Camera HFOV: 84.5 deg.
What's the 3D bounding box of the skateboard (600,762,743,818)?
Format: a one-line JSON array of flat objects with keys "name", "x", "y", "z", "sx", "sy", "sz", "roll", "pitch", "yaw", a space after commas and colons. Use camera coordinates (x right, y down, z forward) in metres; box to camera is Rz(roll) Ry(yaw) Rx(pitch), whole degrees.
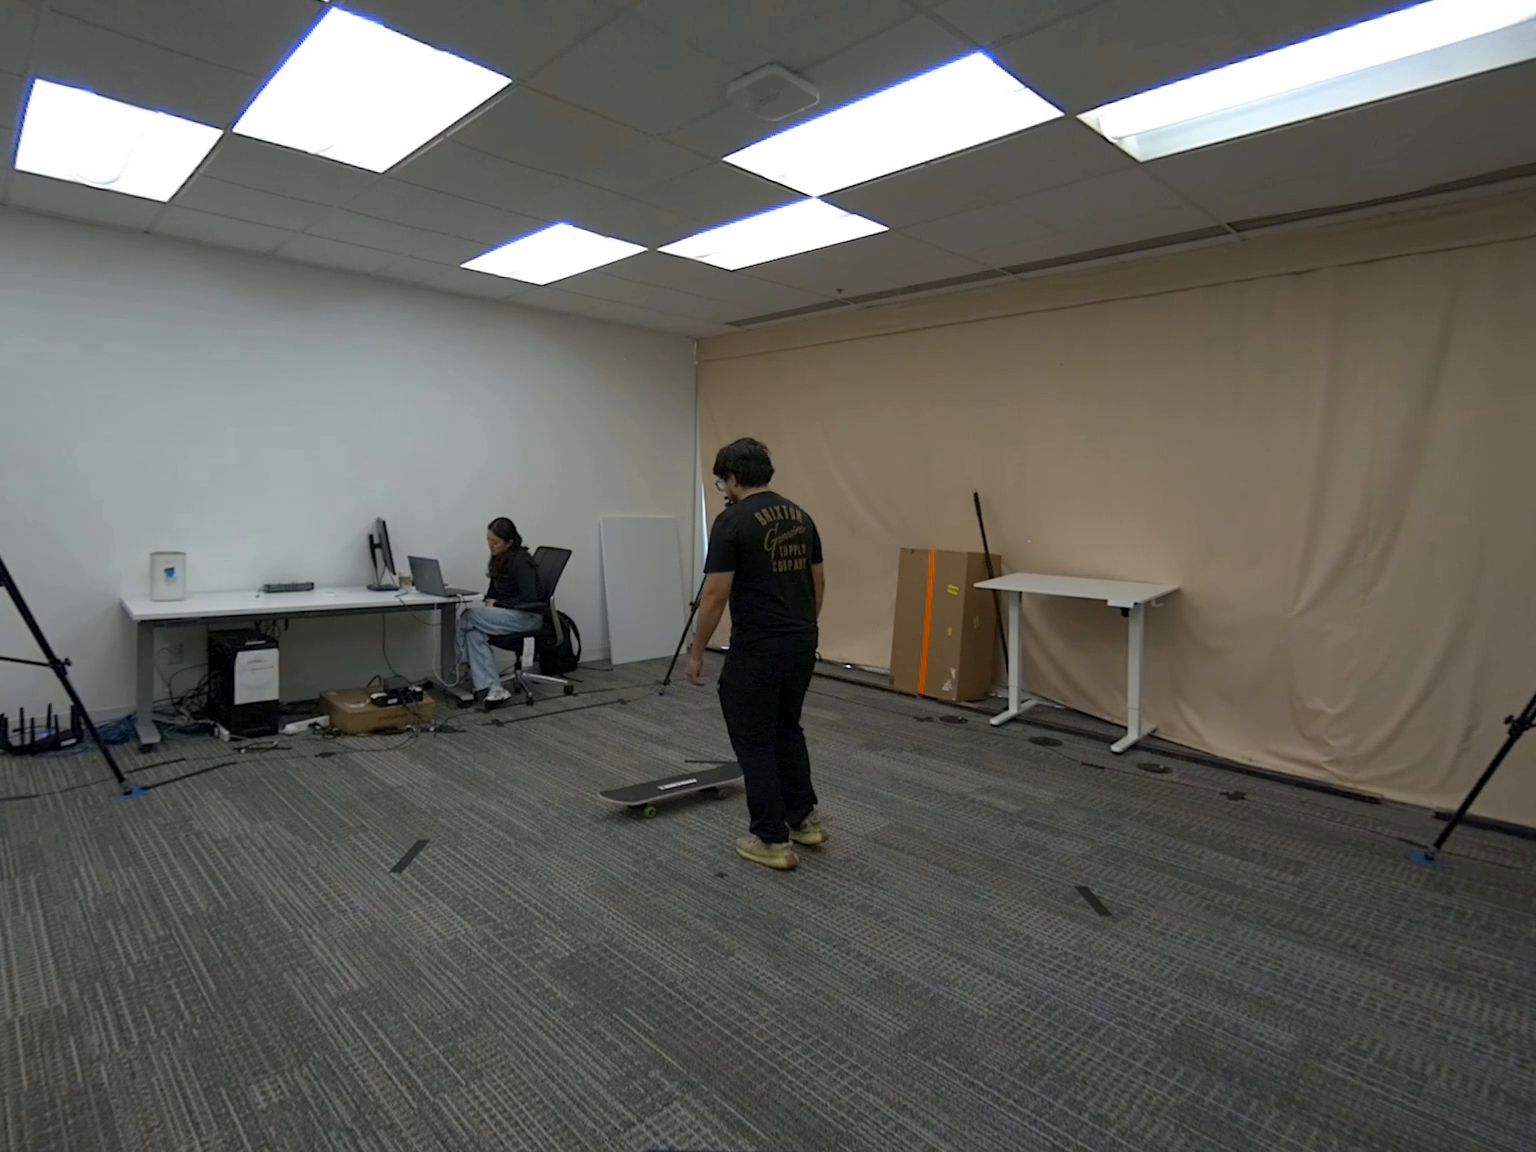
[{"name": "skateboard", "x": -0.422, "y": 0.978, "z": 3.830, "sx": 0.767, "sy": 0.110, "sz": 0.198, "roll": -2, "pitch": 6, "yaw": -40}]
